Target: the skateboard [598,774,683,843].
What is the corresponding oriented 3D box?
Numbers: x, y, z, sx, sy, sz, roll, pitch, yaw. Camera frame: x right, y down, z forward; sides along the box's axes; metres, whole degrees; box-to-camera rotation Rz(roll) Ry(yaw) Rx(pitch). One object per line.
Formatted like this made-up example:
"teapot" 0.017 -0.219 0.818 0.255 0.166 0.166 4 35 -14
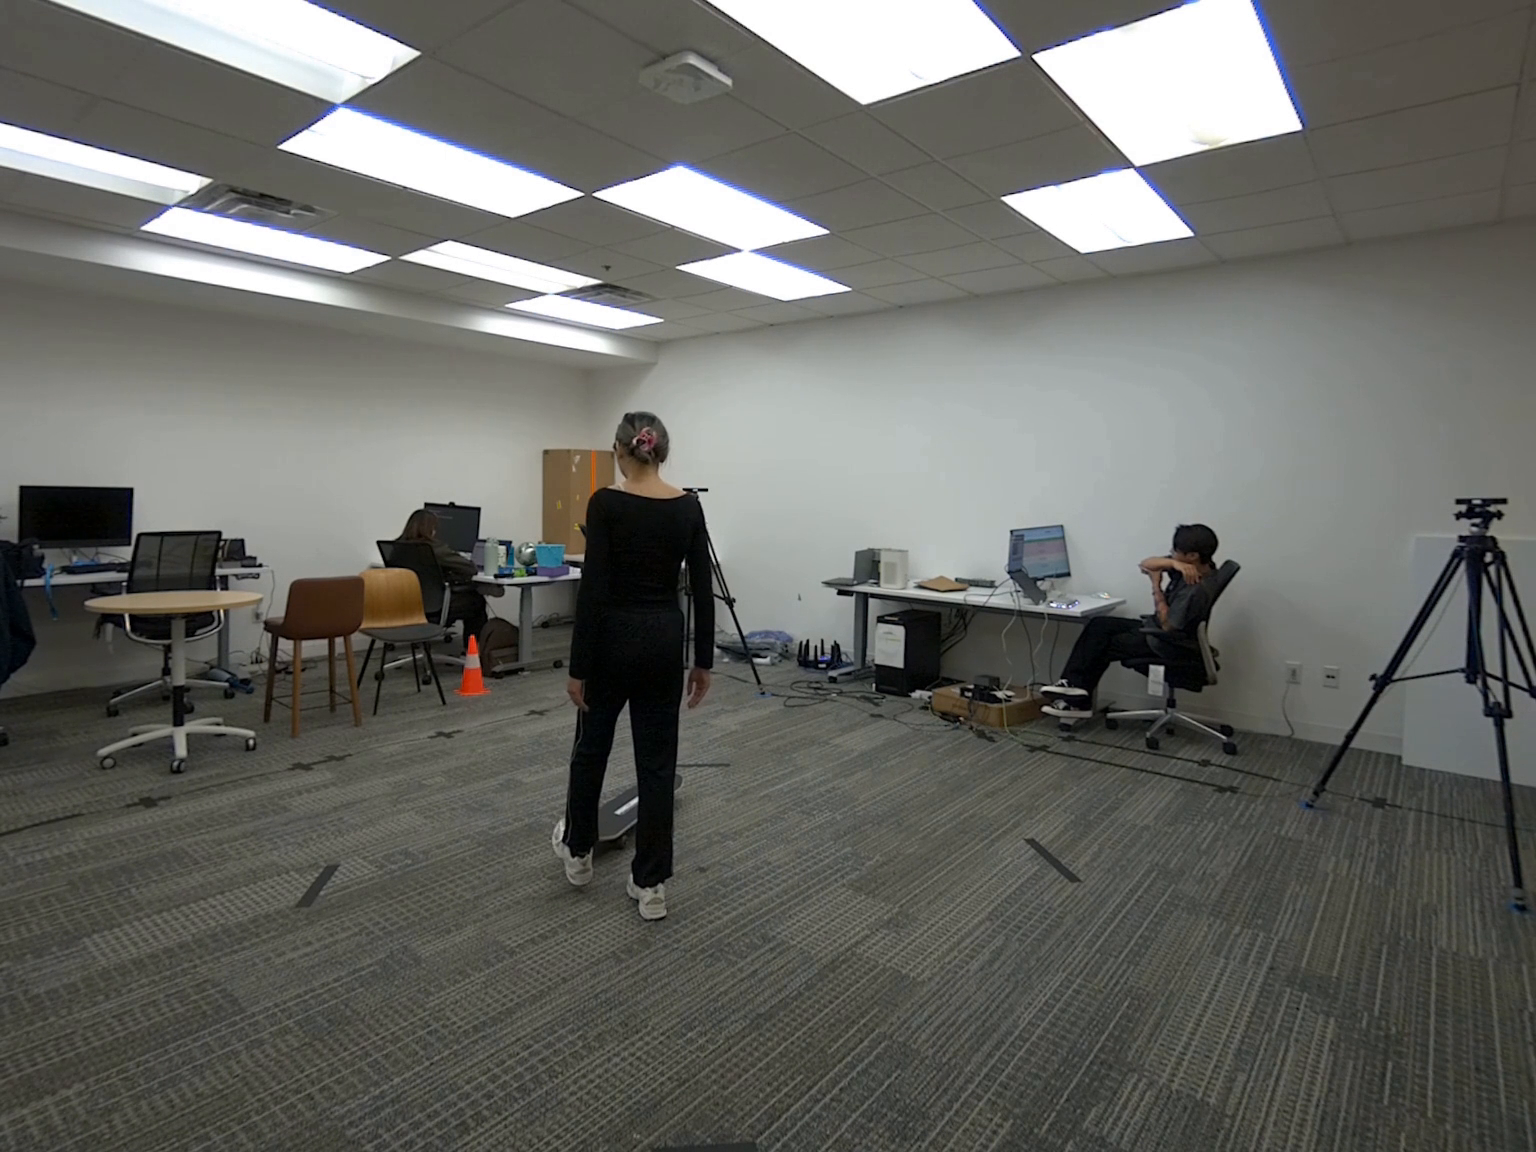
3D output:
"skateboard" -0.579 0.972 3.493 0.198 0.110 0.772 3 6 19
